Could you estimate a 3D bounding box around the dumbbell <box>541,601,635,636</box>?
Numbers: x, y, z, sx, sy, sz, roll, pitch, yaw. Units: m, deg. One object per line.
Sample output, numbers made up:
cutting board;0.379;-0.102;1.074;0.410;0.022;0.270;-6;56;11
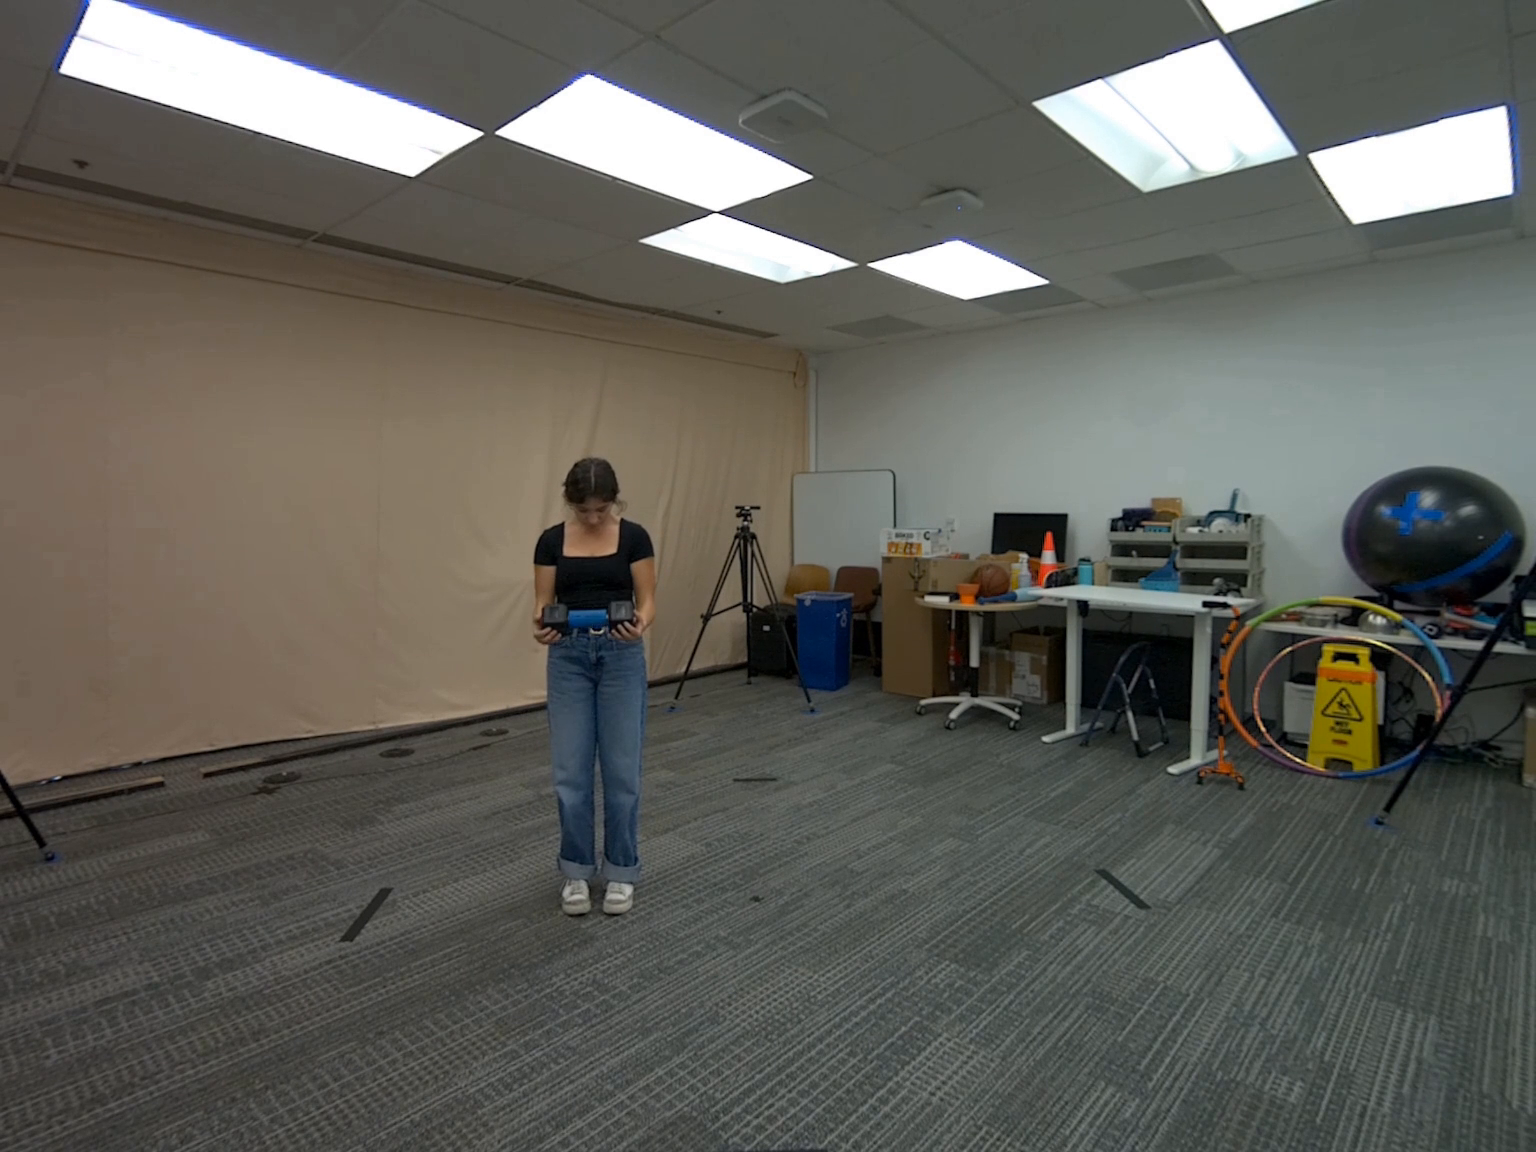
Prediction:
dumbbell;-0.602;0.133;2.741;0.292;0.121;0.111;-1;35;-5
